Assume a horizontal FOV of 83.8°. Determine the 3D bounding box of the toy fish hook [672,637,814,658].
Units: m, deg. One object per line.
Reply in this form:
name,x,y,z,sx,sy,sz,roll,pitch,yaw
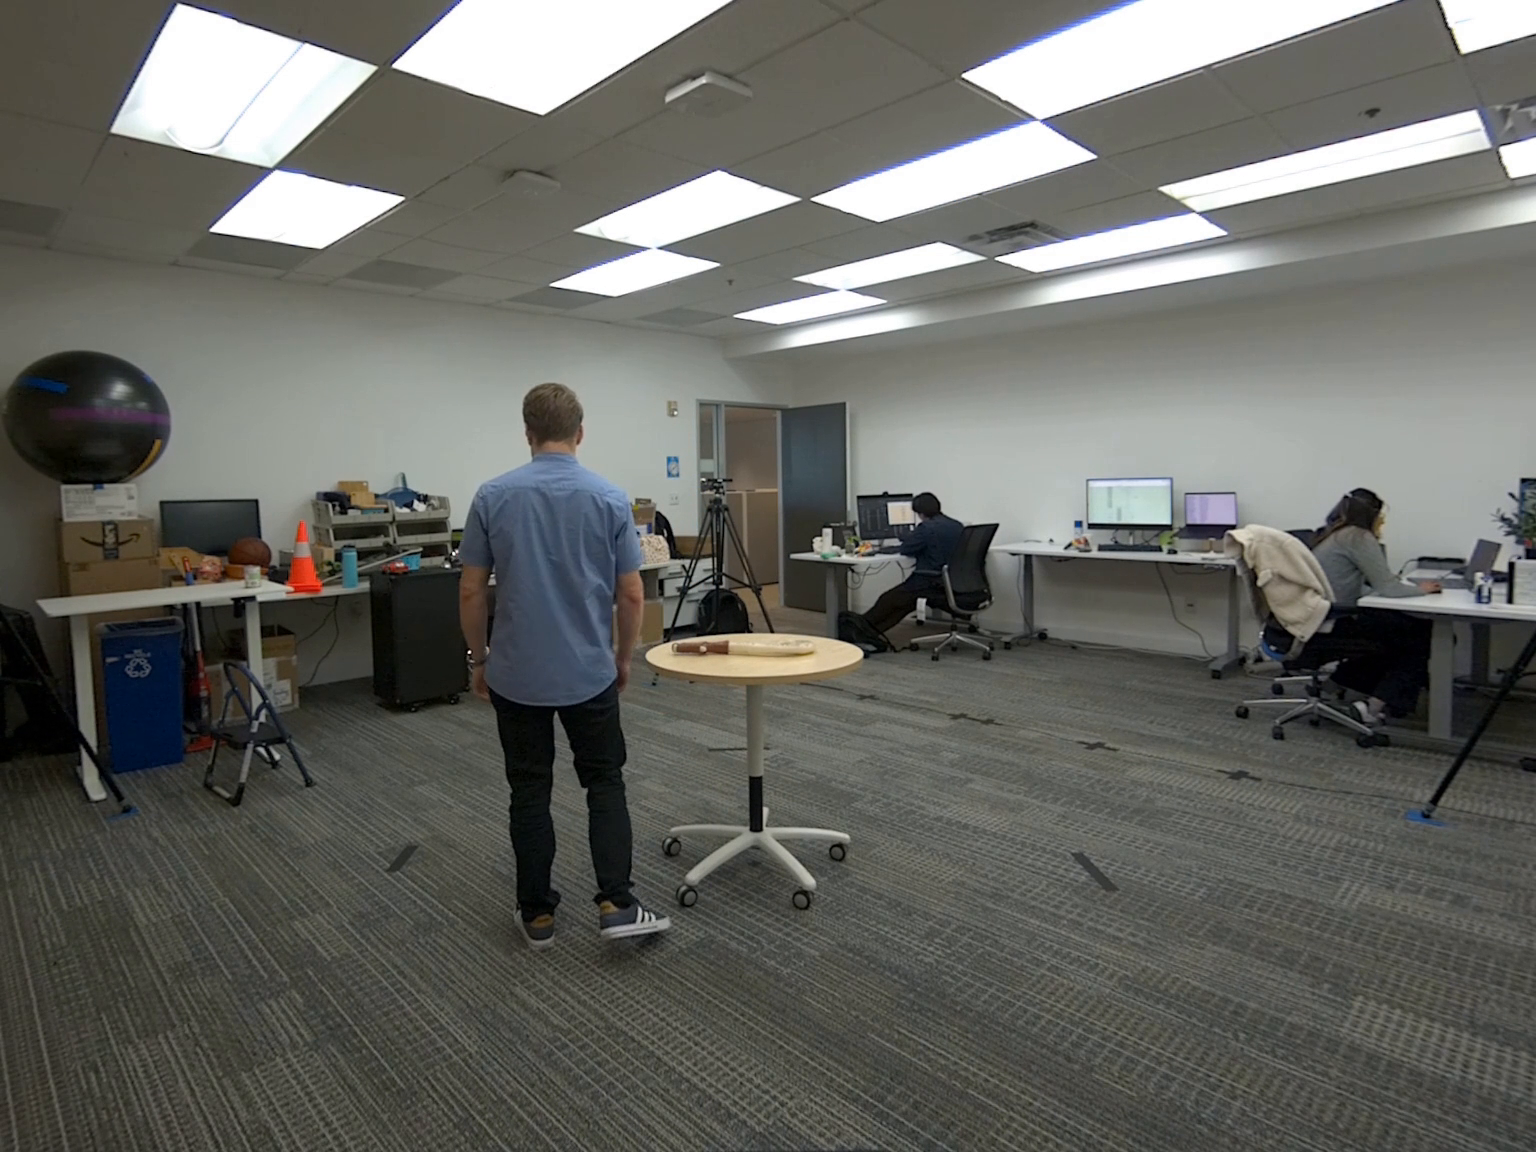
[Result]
toy fish hook,-0.084,0.256,3.046,0.508,0.048,0.223,0,-1,2
